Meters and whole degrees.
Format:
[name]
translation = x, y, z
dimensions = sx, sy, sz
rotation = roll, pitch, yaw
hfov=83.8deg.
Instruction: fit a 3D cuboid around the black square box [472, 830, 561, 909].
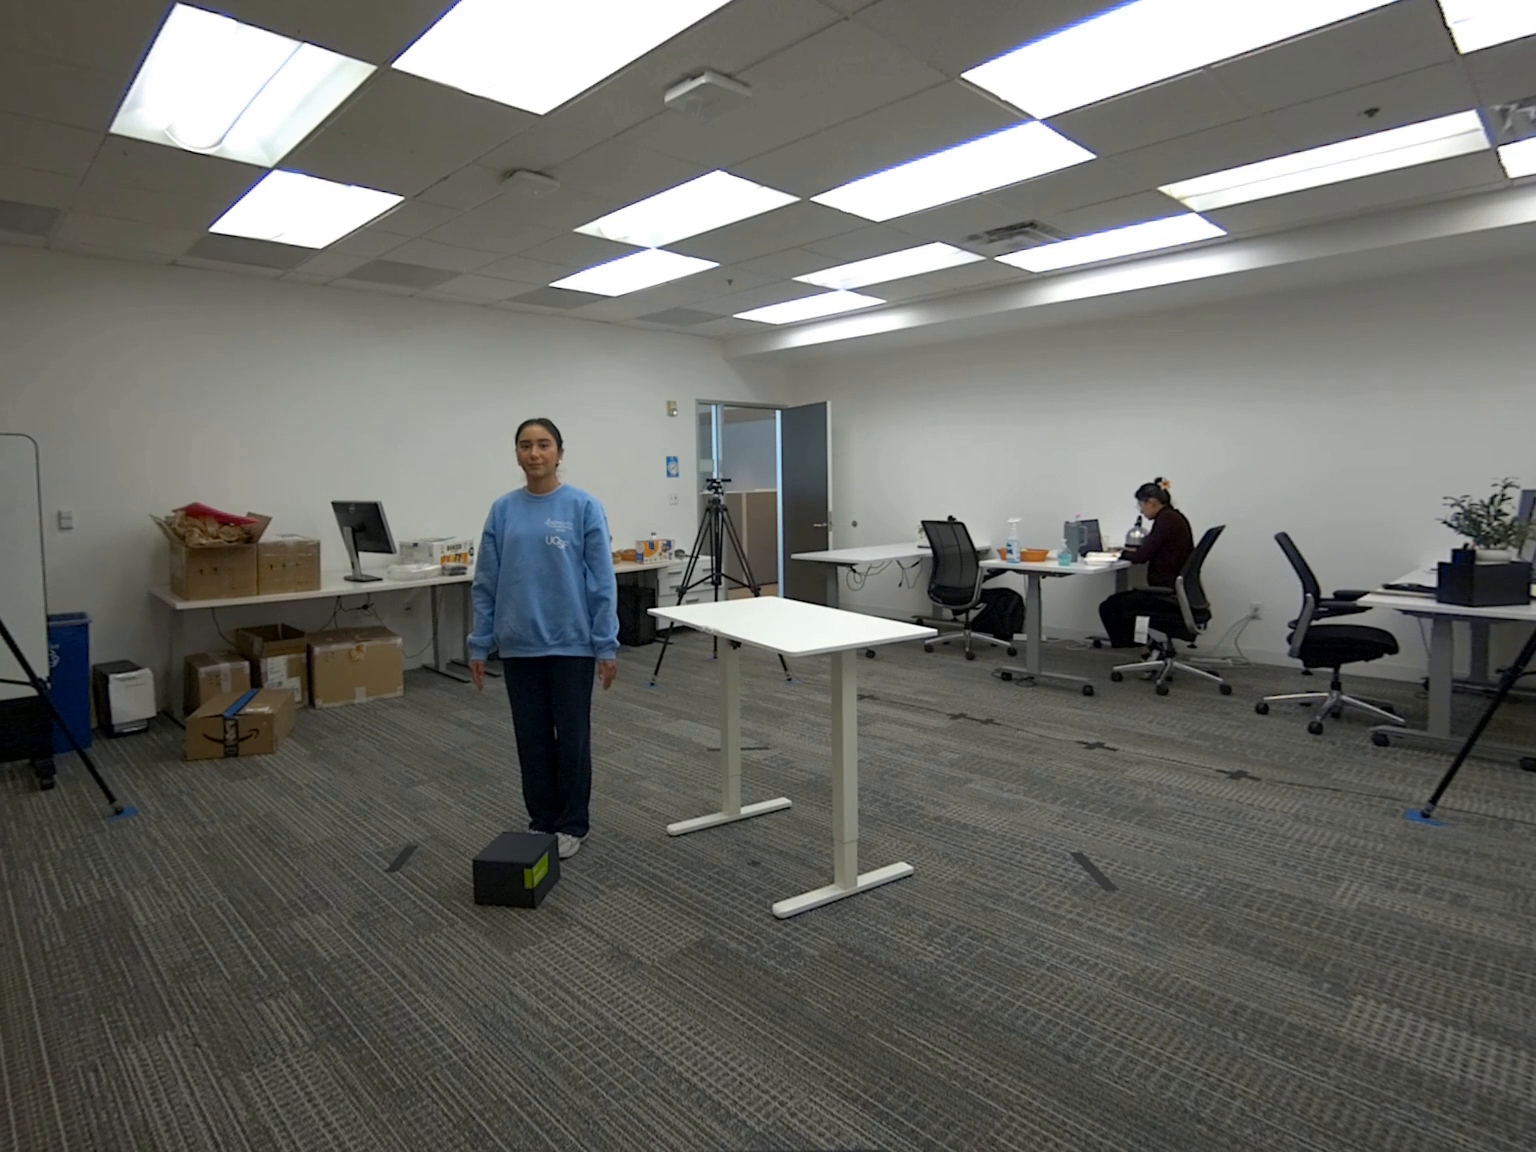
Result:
[black square box]
translation = -0.868, 1.005, 2.927
dimensions = 0.219, 0.155, 0.227
rotation = -1, 6, 10
